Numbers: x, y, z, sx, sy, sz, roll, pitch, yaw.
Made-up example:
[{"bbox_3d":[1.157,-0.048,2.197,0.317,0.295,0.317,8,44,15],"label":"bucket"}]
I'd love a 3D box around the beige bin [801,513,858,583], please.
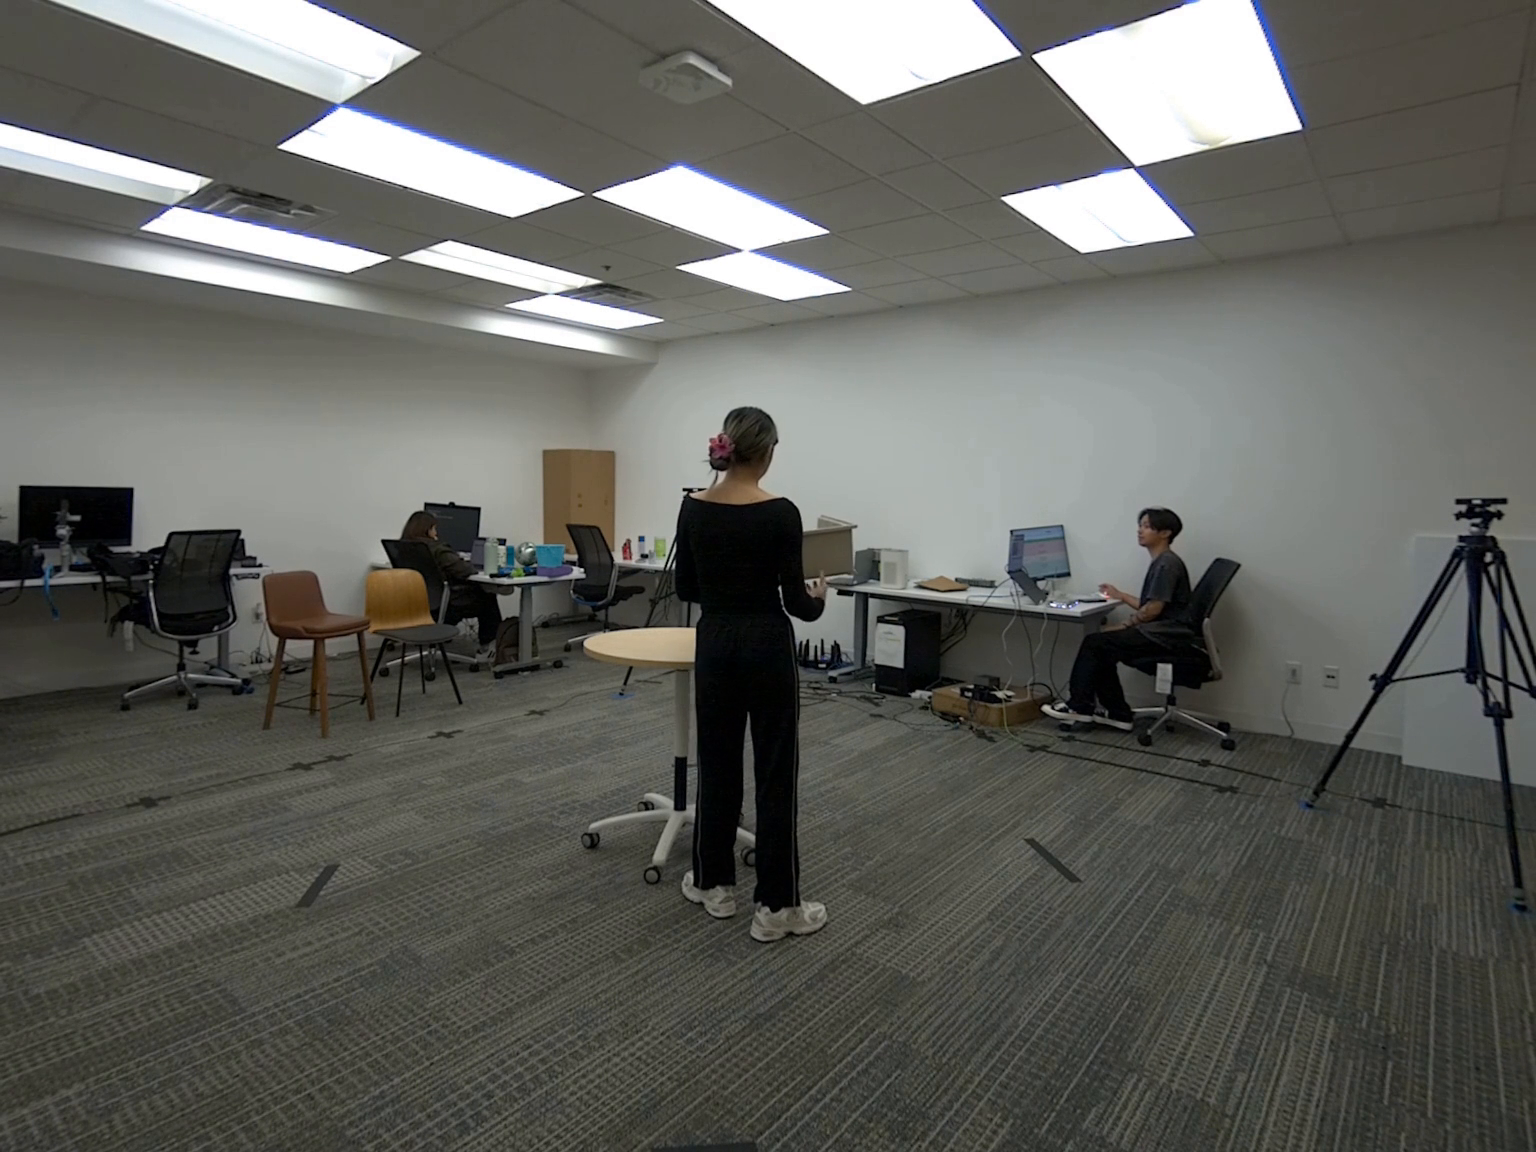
[{"bbox_3d":[0.049,-0.091,3.086,0.417,0.187,0.386,-8,12,-14],"label":"beige bin"}]
